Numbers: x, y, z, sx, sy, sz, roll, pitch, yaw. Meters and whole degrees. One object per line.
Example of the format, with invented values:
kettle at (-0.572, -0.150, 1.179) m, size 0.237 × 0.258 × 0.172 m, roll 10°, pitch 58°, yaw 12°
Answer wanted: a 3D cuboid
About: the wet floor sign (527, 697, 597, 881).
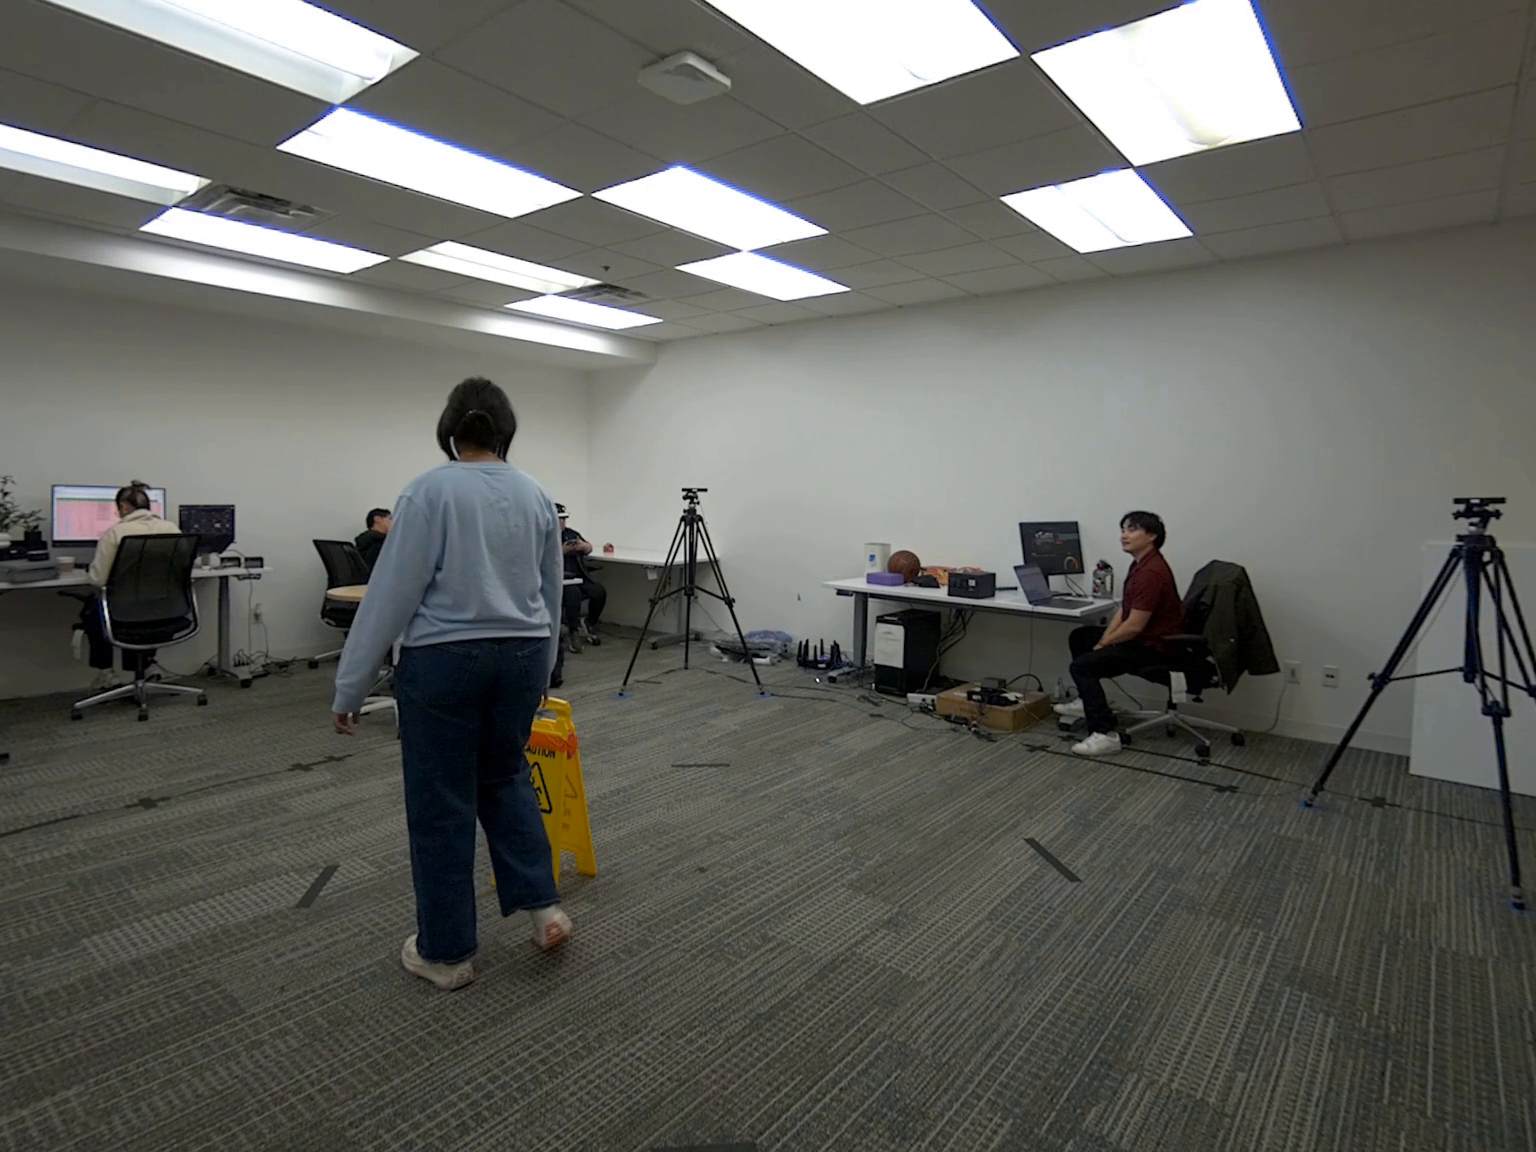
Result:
wet floor sign at (-0.798, 0.748, 2.981) m, size 0.289 × 0.644 × 0.283 m, roll 1°, pitch 3°, yaw 25°
